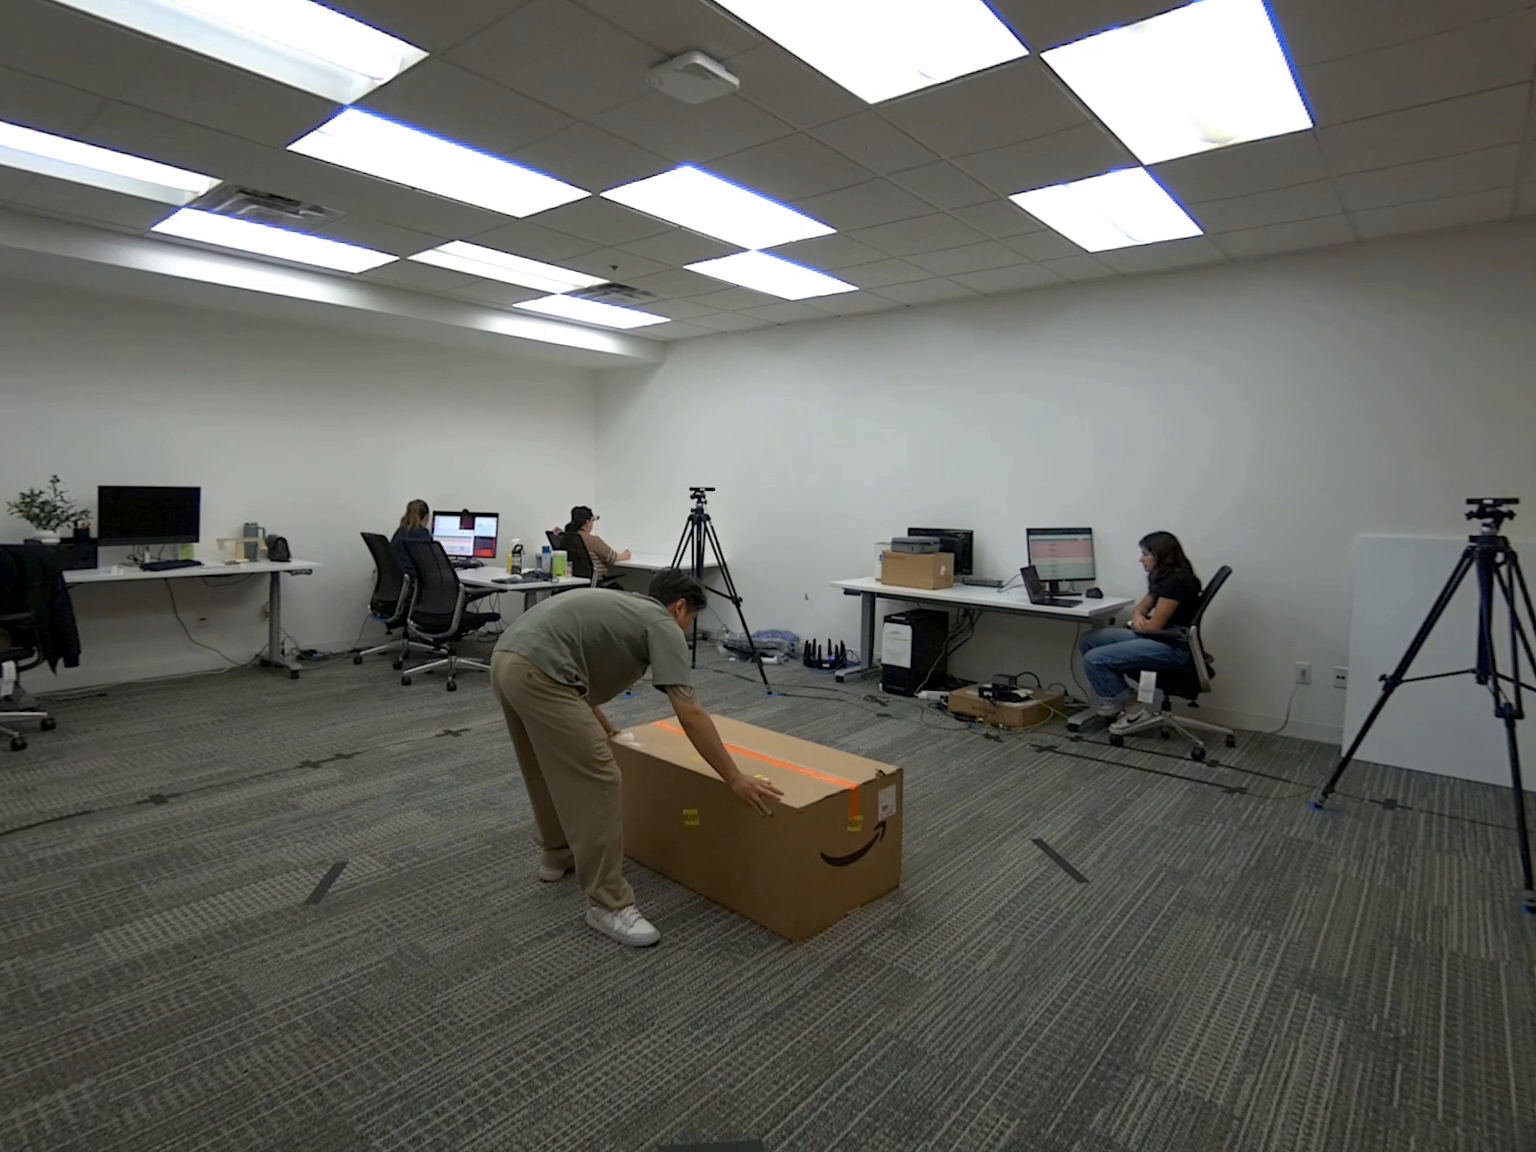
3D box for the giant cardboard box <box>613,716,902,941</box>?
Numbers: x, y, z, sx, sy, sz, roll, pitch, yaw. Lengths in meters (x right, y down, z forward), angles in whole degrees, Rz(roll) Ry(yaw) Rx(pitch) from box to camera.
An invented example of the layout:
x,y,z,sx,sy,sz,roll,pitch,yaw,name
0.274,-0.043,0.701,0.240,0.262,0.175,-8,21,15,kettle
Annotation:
x,y,z,sx,sy,sz,roll,pitch,yaw,name
-0.101,0.850,3.147,1.061,0.425,0.560,6,6,44,giant cardboard box
